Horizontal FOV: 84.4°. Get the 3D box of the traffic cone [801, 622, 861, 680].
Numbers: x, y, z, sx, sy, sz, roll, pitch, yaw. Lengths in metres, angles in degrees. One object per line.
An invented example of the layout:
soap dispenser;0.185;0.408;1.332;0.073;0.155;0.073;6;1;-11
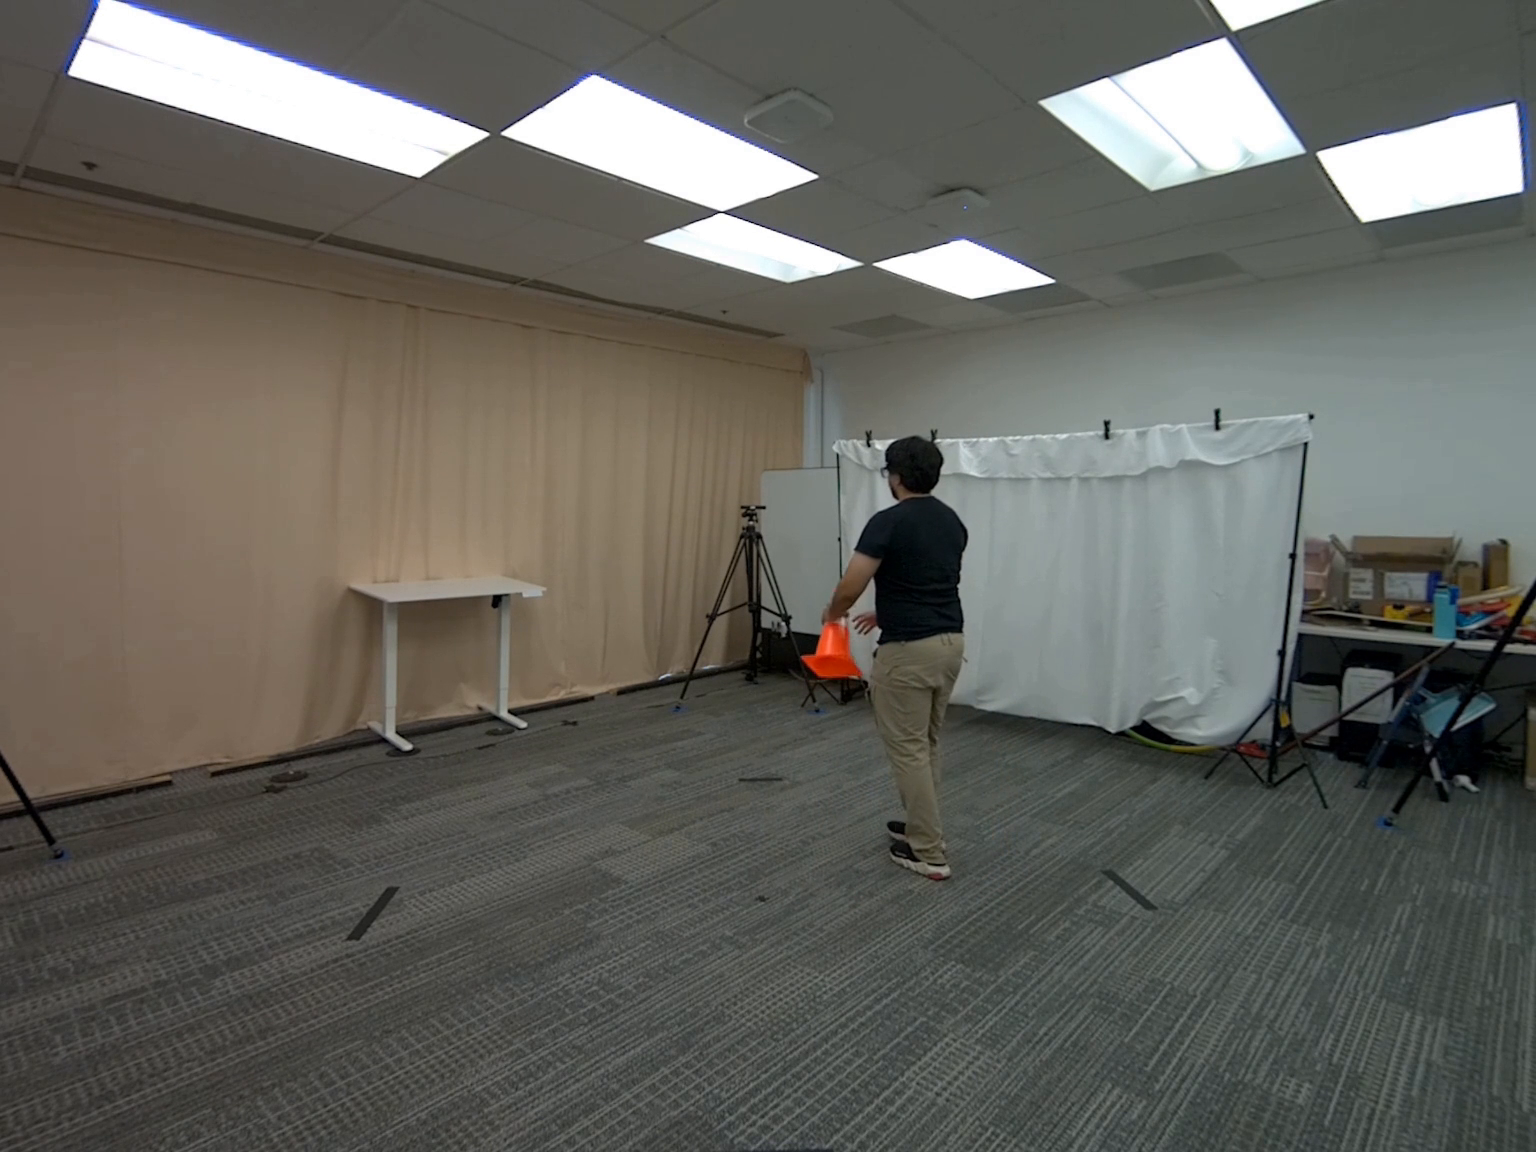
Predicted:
traffic cone;0.299;0.208;3.486;0.209;0.389;0.196;-13;-38;28
